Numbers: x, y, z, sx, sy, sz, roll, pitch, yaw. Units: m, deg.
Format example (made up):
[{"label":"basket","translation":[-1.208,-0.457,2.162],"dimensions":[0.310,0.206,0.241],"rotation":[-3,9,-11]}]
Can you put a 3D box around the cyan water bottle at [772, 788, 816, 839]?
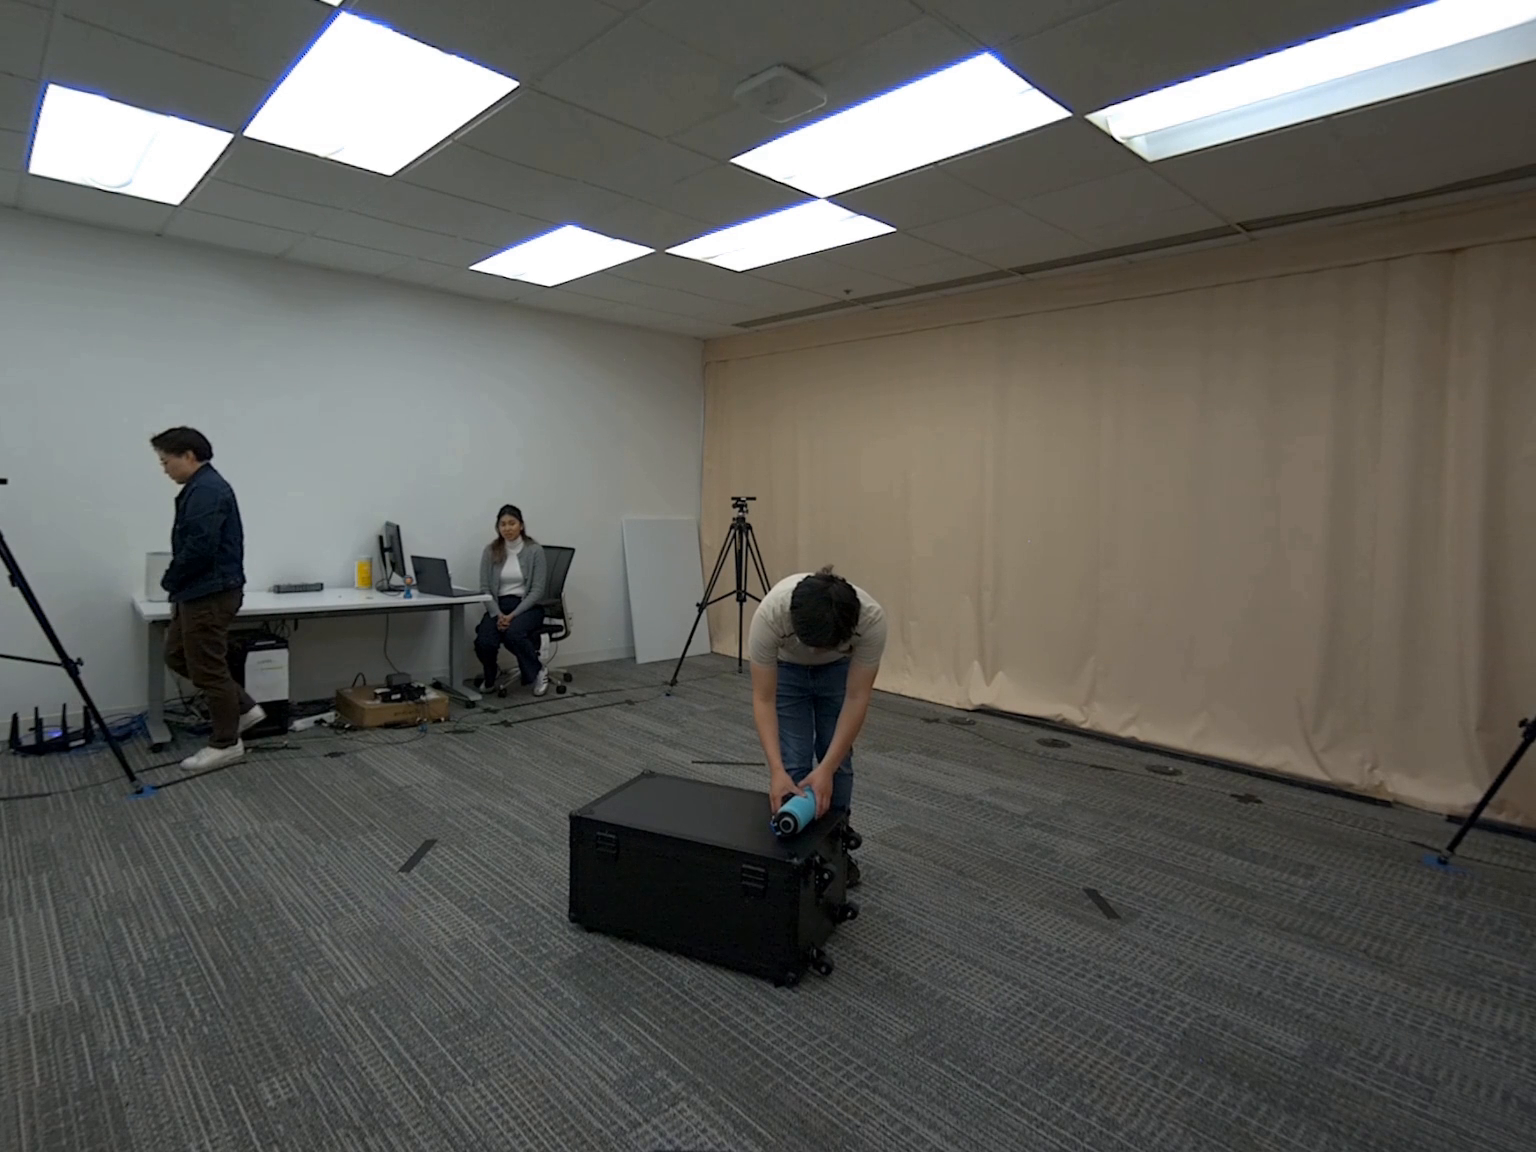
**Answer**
[{"label":"cyan water bottle","translation":[0.078,0.739,2.611],"dimensions":[0.094,0.092,0.279],"rotation":[3,4,20]}]
